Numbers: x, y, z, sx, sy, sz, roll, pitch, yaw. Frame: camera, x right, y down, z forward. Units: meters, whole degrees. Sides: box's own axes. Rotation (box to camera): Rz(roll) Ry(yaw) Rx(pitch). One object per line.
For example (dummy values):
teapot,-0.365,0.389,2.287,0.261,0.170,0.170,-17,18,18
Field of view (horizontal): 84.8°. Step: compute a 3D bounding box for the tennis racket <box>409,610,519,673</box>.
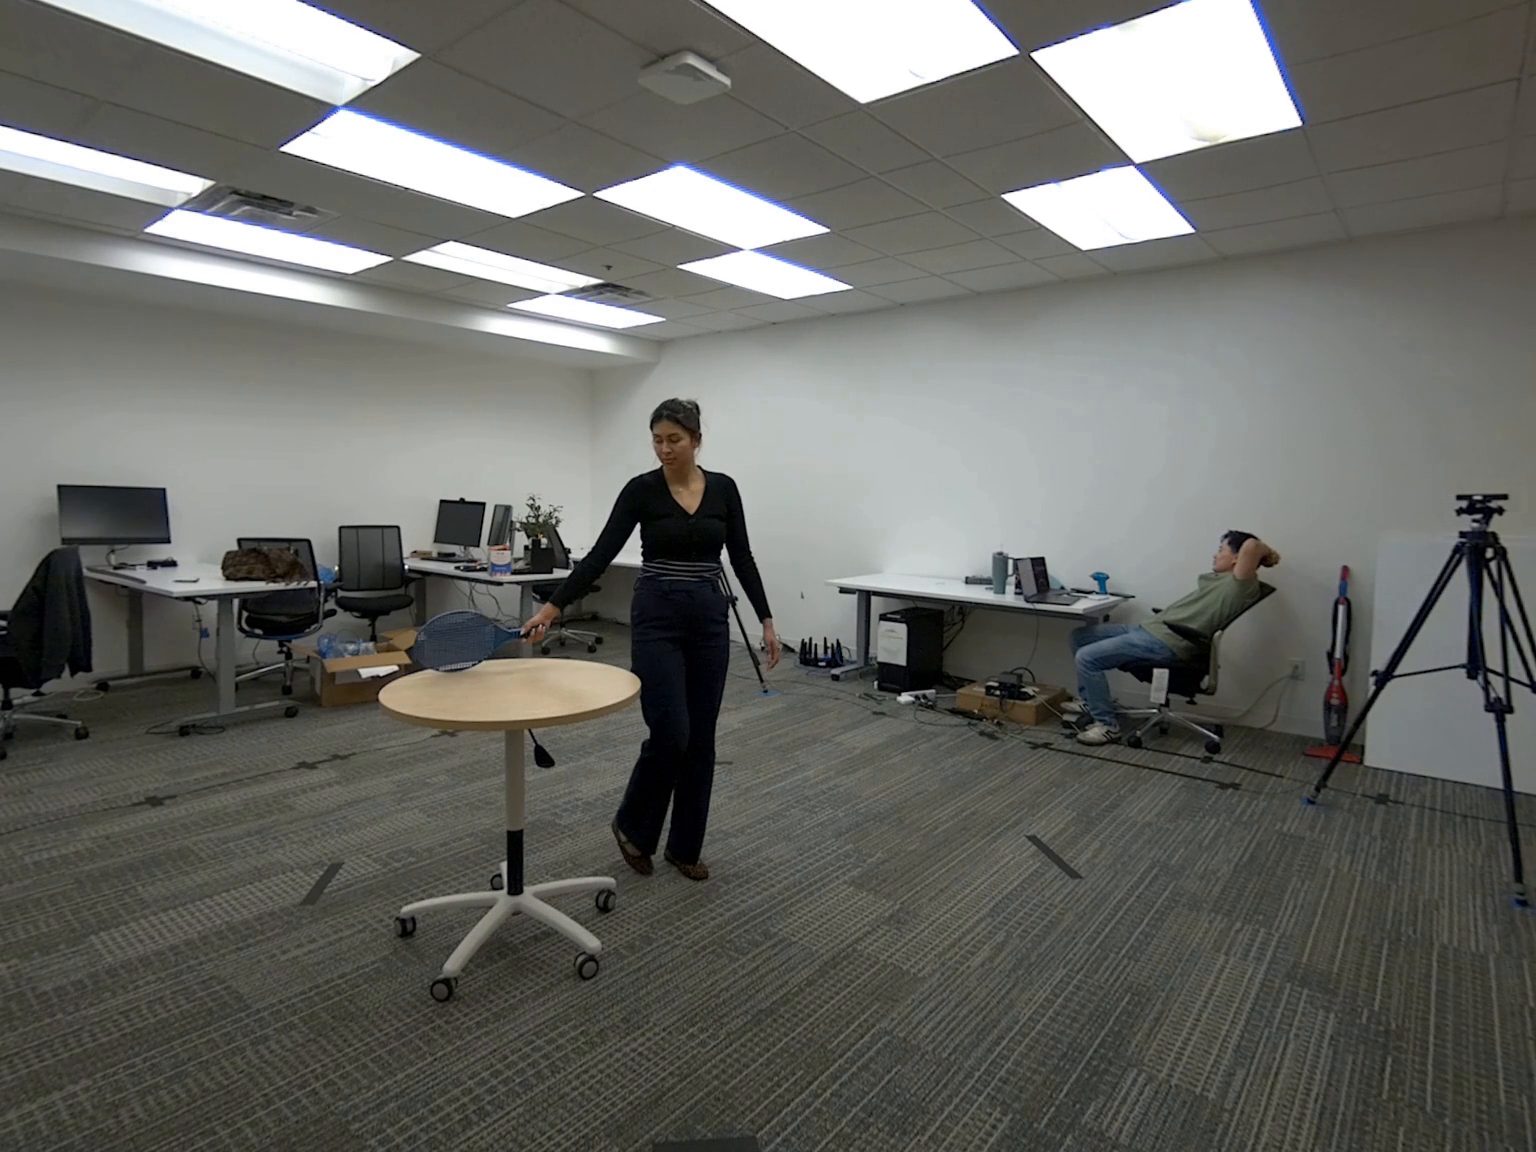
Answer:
tennis racket,-0.934,0.210,2.735,0.422,0.211,0.033,0,17,-25
